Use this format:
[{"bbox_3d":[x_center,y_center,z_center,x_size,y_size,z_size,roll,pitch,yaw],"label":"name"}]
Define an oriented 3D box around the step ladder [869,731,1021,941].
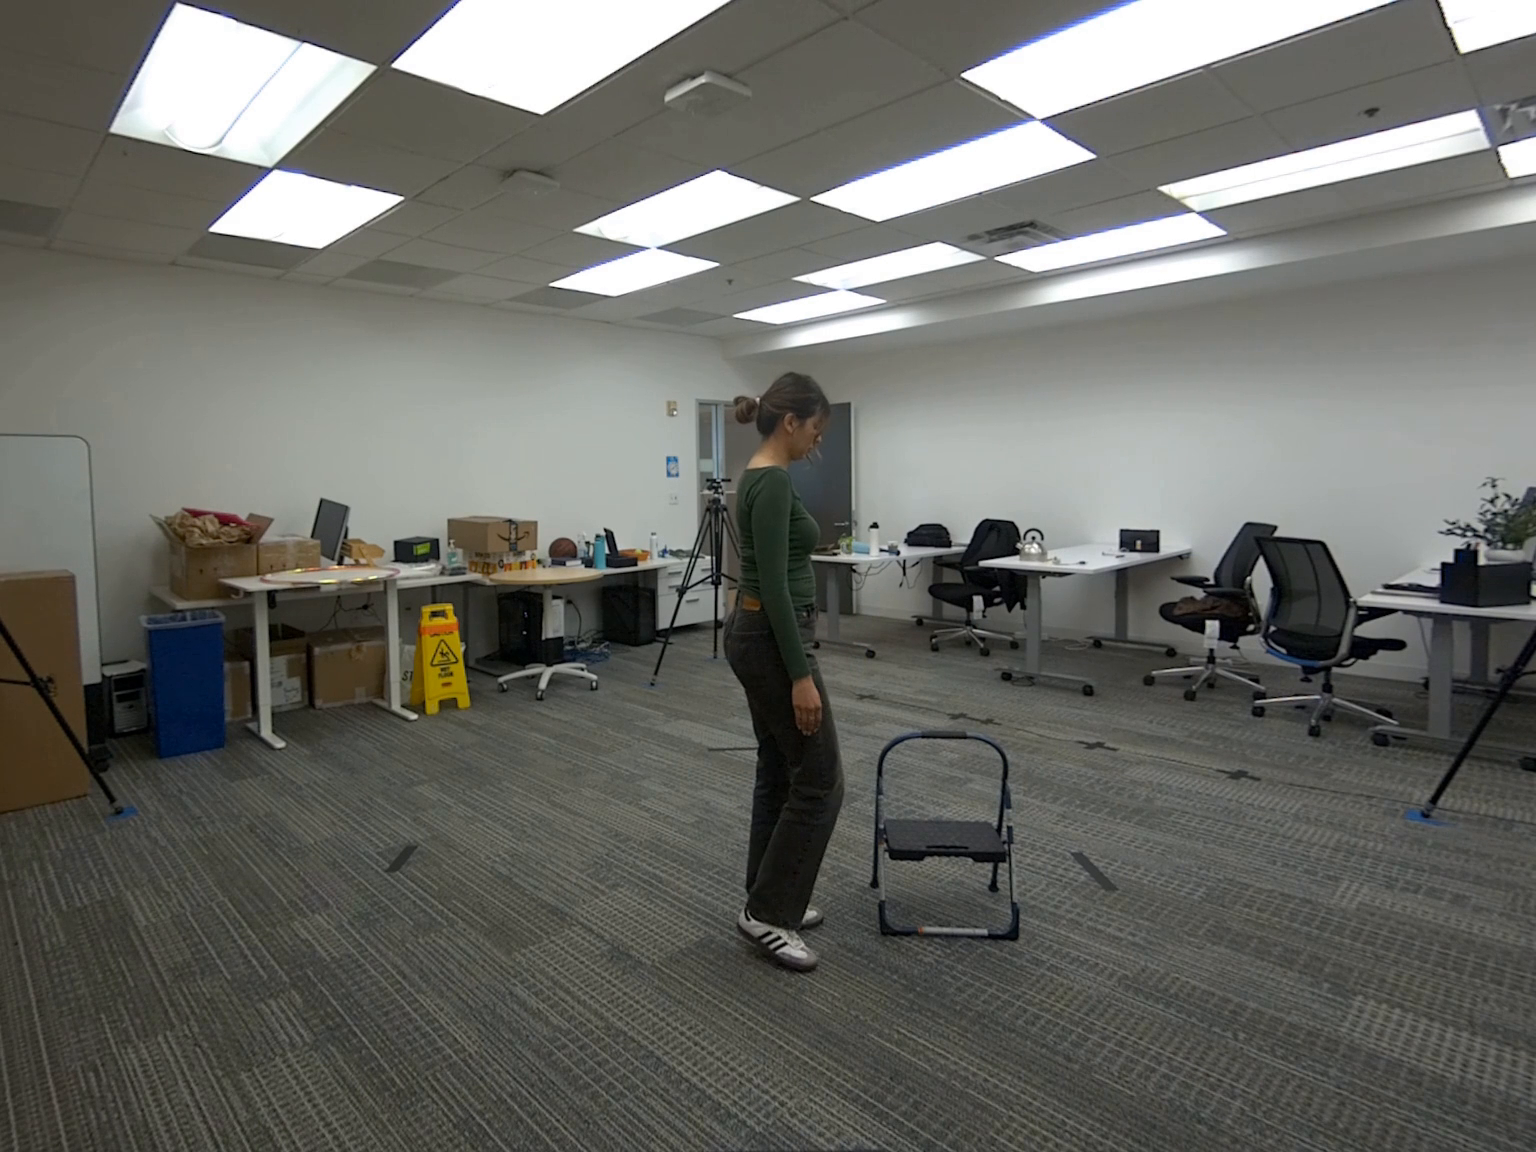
[{"bbox_3d":[0.554,0.775,2.729,0.433,0.604,0.349,-1,3,4],"label":"step ladder"}]
